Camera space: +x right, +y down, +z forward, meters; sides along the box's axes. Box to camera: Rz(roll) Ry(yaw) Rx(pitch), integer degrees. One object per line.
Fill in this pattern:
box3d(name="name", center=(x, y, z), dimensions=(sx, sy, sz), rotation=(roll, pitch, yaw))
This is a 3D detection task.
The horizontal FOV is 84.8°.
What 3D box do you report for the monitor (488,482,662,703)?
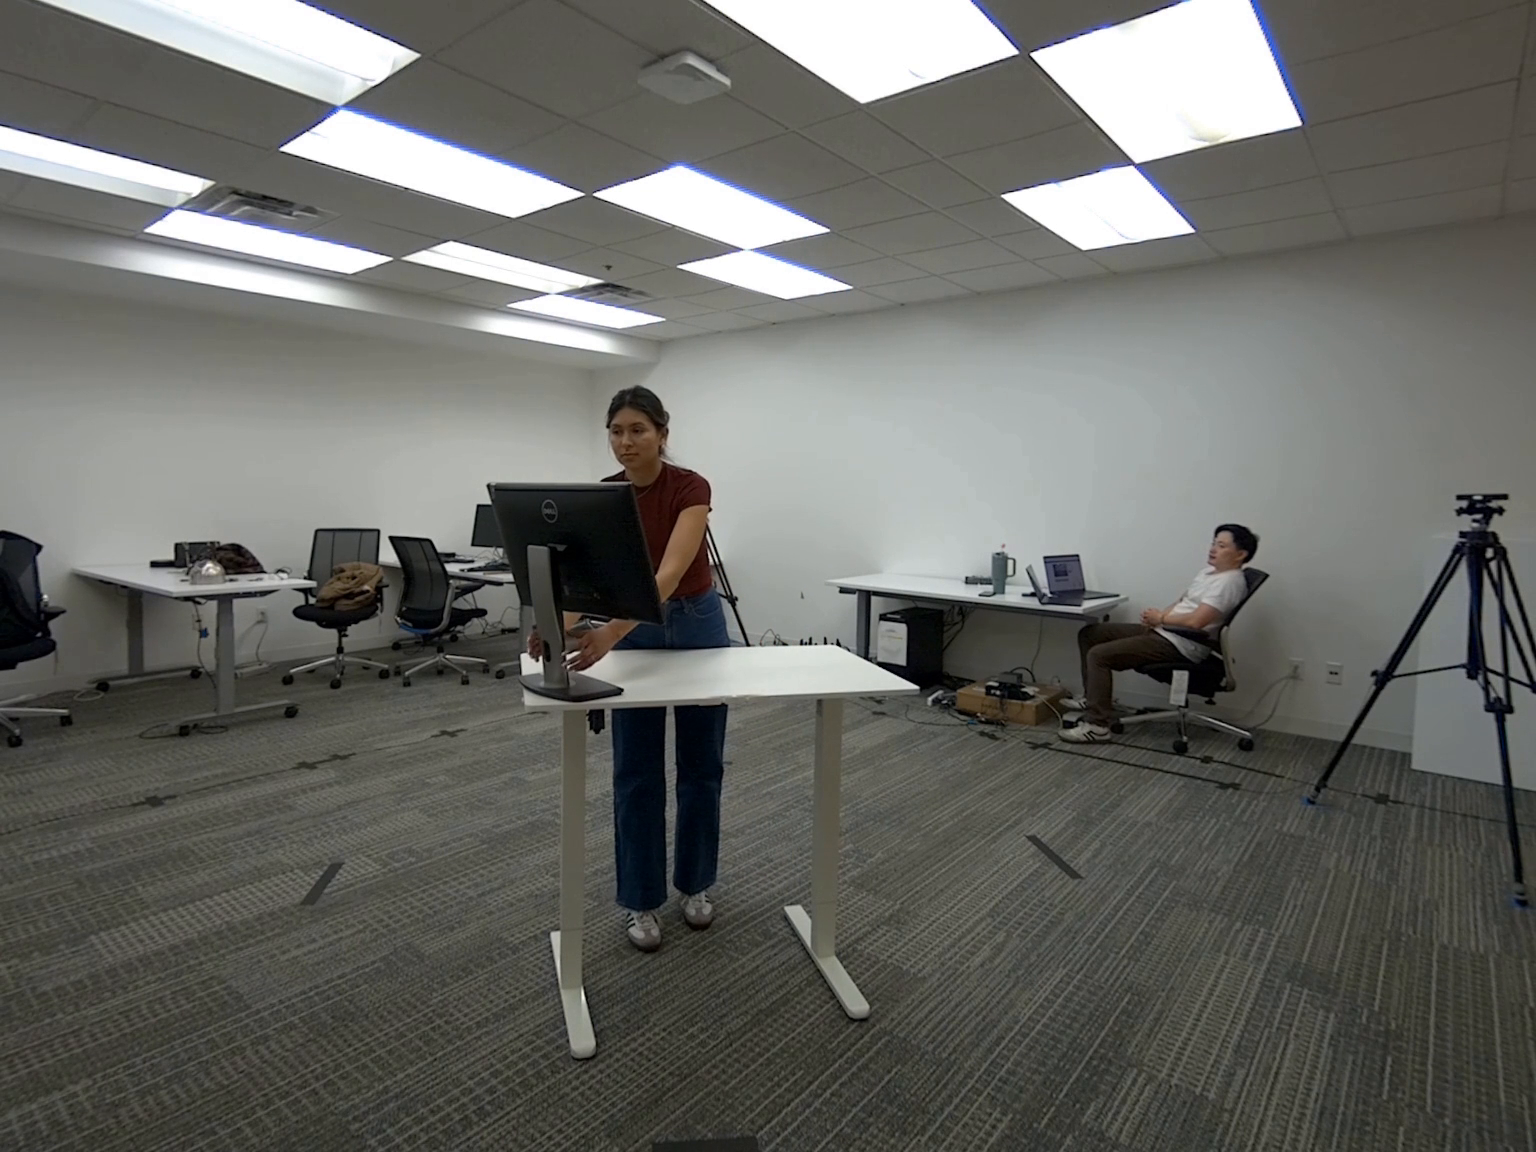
box3d(name="monitor", center=(-0.528, 0.027, 2.105), dimensions=(0.556, 0.519, 0.182), rotation=(4, 8, 36))
